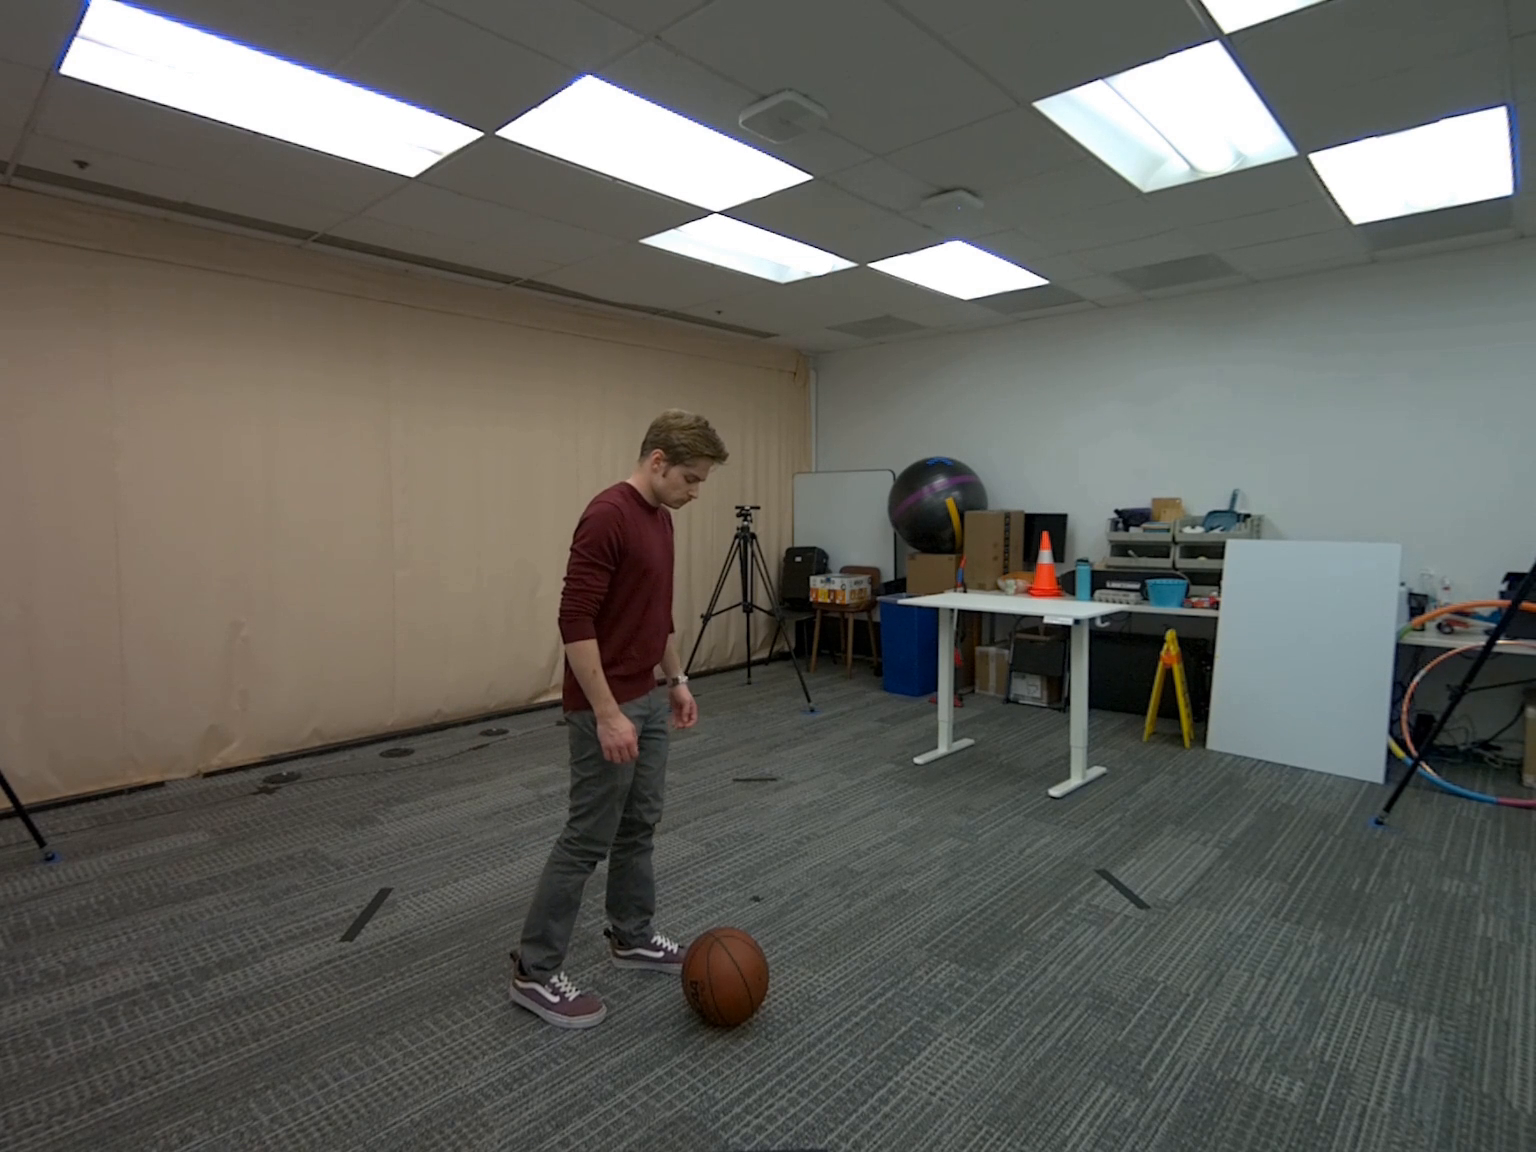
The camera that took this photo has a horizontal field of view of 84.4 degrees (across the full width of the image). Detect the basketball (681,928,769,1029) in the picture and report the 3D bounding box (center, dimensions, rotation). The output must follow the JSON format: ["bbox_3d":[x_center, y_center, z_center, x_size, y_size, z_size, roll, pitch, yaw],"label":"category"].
[{"bbox_3d":[-0.111,1.083,2.282,0.236,0.235,0.237,0,4,-2],"label":"basketball"}]
